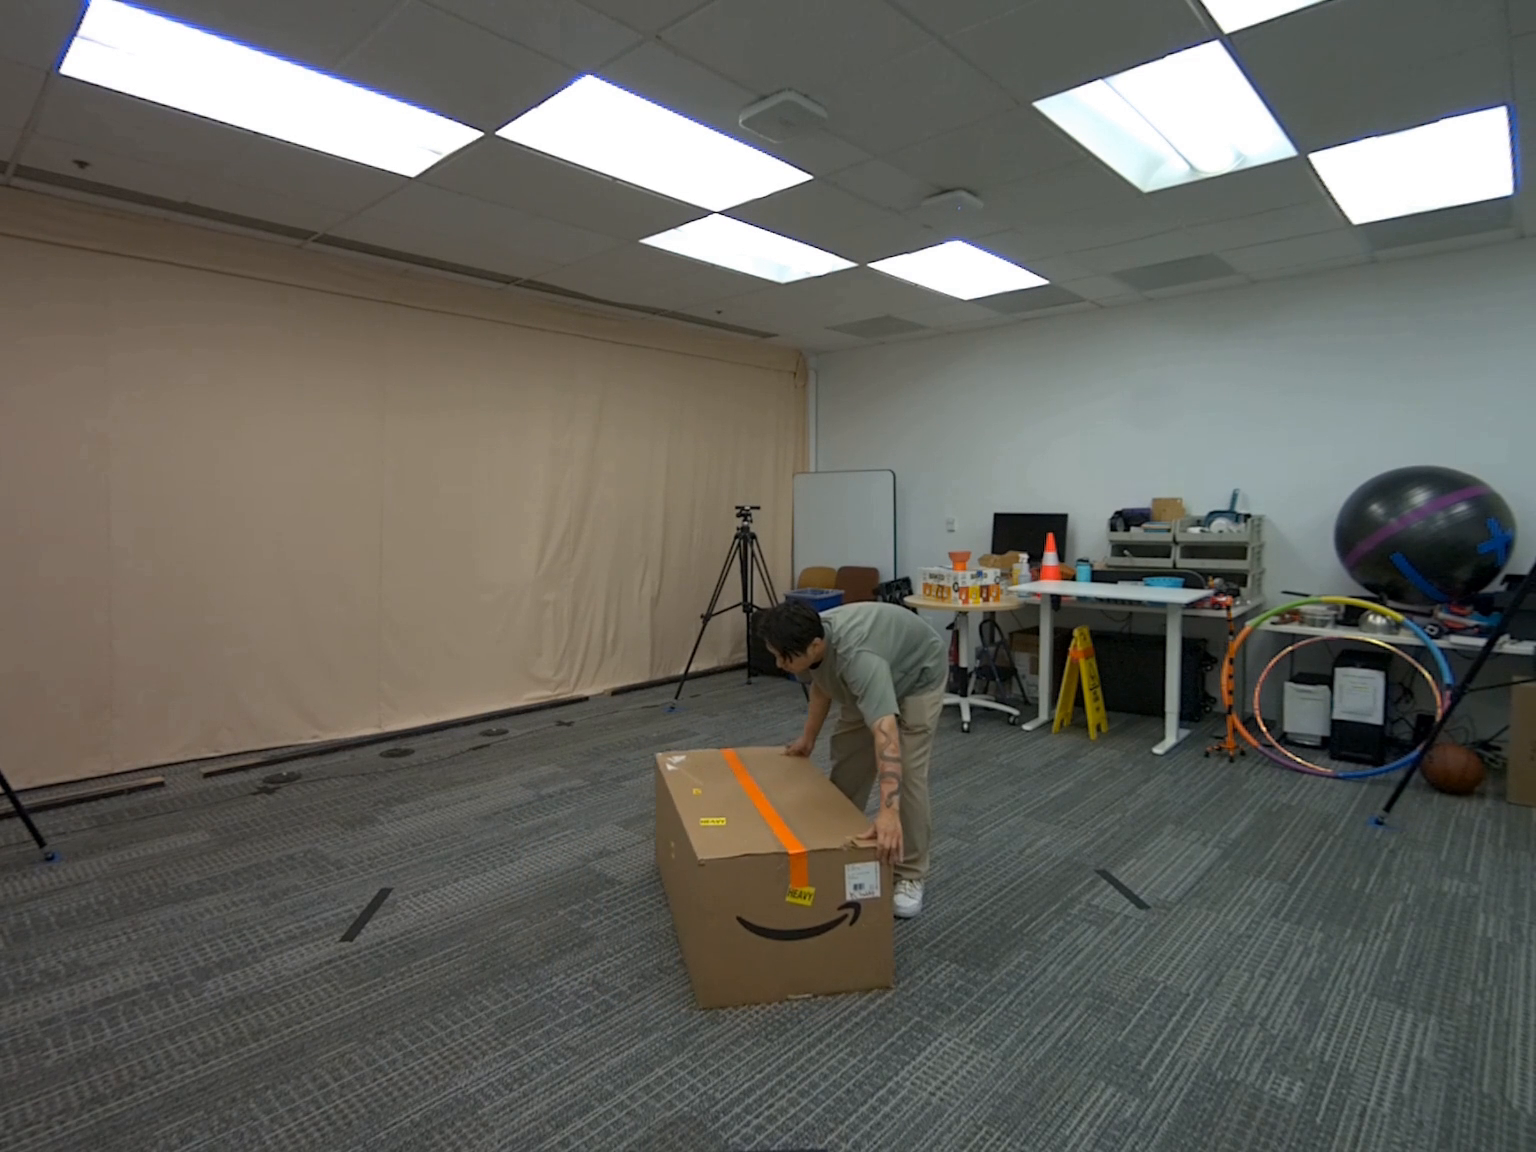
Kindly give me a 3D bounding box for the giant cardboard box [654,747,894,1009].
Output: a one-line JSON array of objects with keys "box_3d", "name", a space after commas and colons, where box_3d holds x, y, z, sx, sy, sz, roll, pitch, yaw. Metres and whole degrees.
[{"box_3d": [-0.046, 0.936, 2.860, 0.570, 0.425, 1.042, 0, 4, -14], "name": "giant cardboard box"}]
